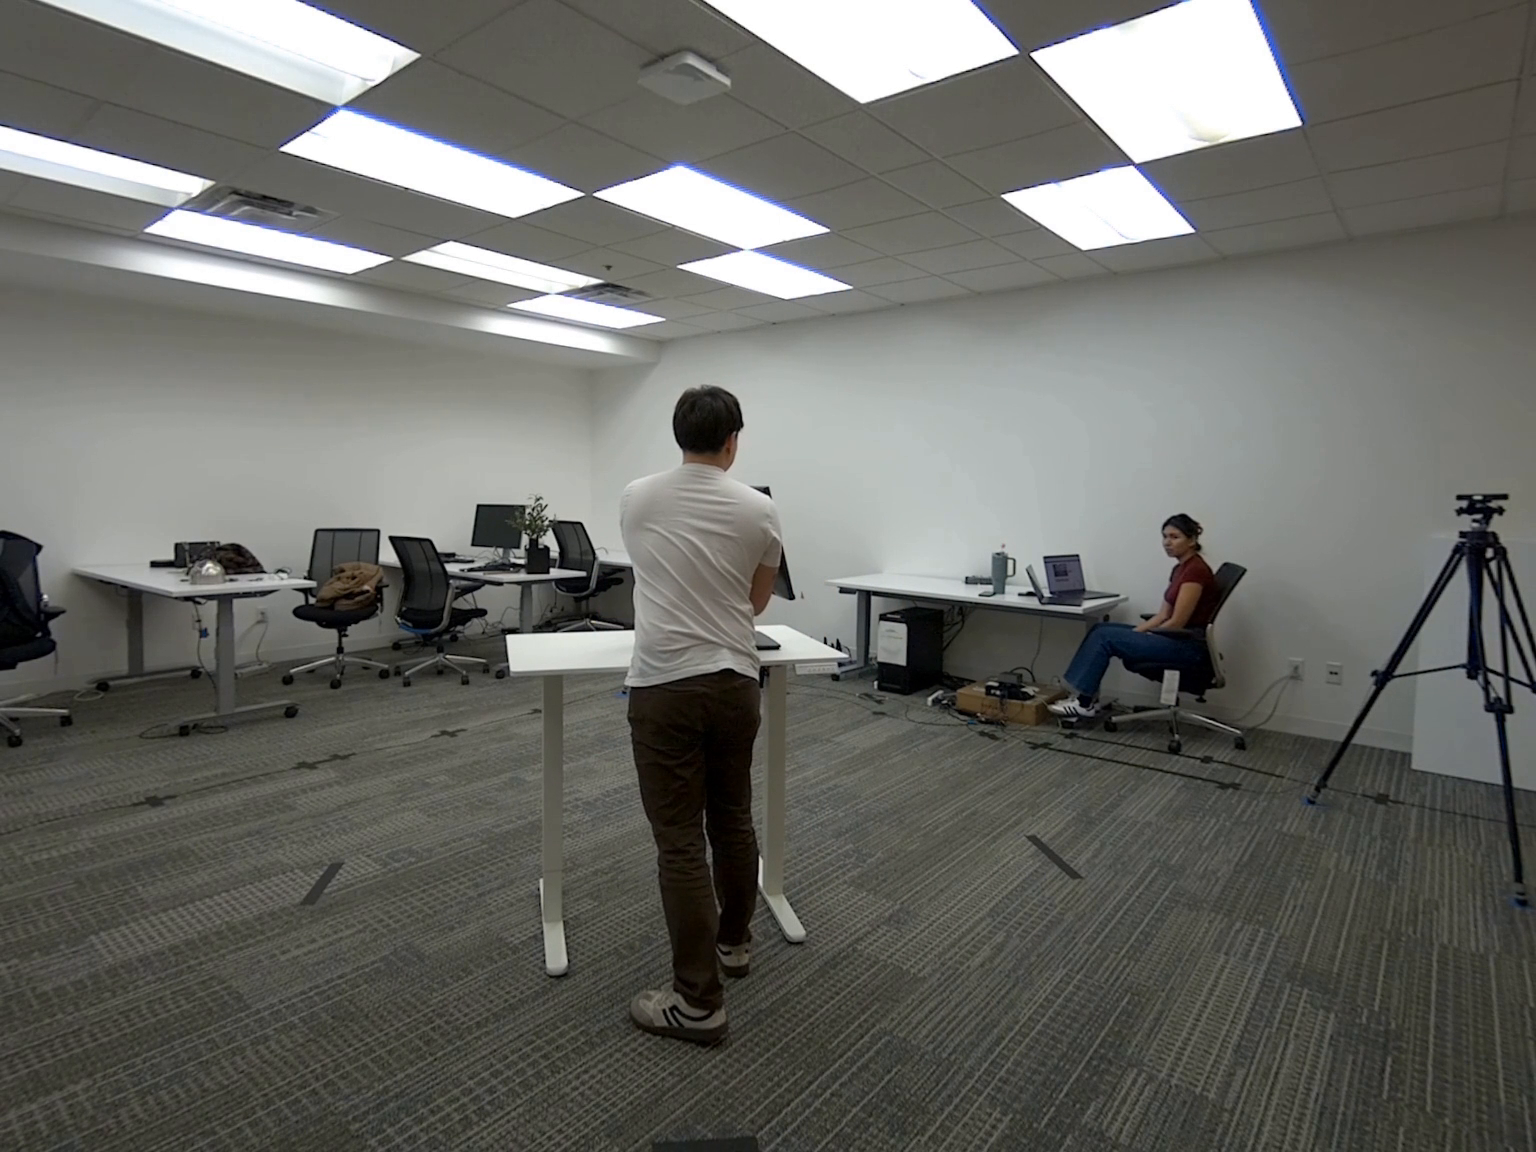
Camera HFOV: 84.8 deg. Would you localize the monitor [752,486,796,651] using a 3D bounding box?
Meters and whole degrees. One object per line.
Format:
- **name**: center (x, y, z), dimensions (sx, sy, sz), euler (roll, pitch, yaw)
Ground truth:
- **monitor**: center (-0.088, -0.036, 2.780), dimensions (0.184, 0.520, 0.551), euler (-3, 5, -20)
